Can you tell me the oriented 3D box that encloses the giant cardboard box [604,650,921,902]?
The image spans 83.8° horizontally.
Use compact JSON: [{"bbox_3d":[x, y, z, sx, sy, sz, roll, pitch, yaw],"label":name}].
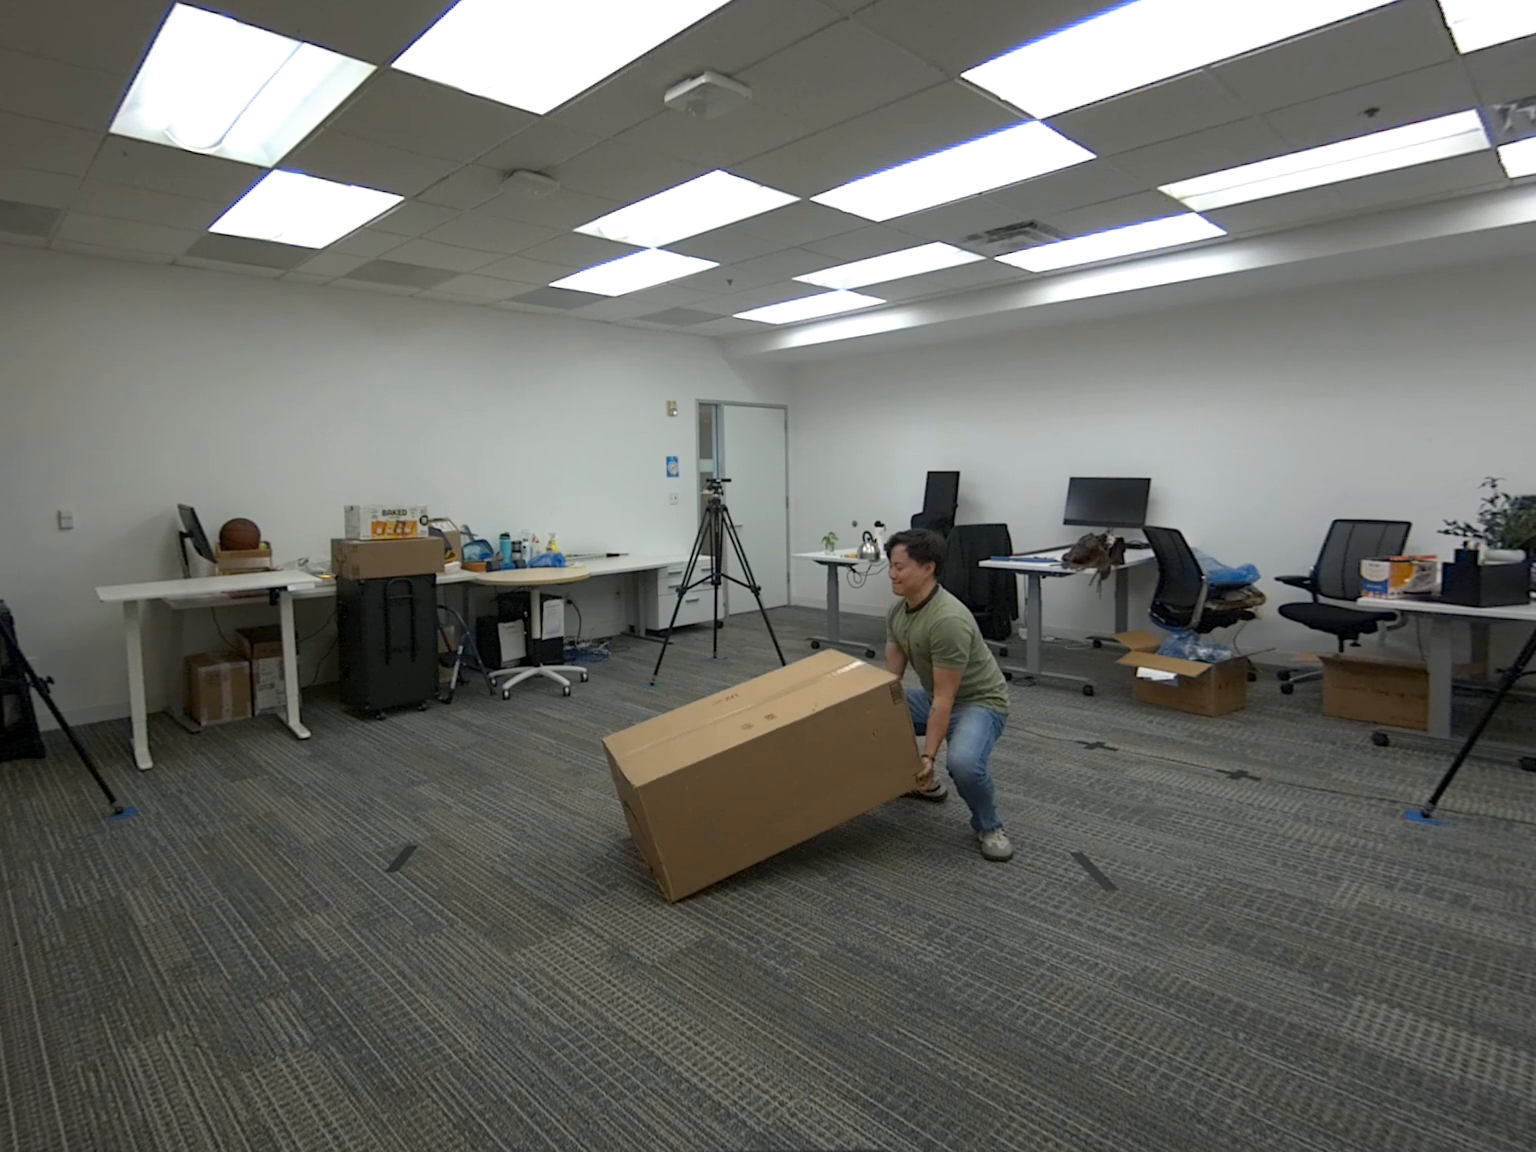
[{"bbox_3d":[-0.035,0.685,3.199,1.014,0.421,0.590,-20,12,-18],"label":"giant cardboard box"}]
